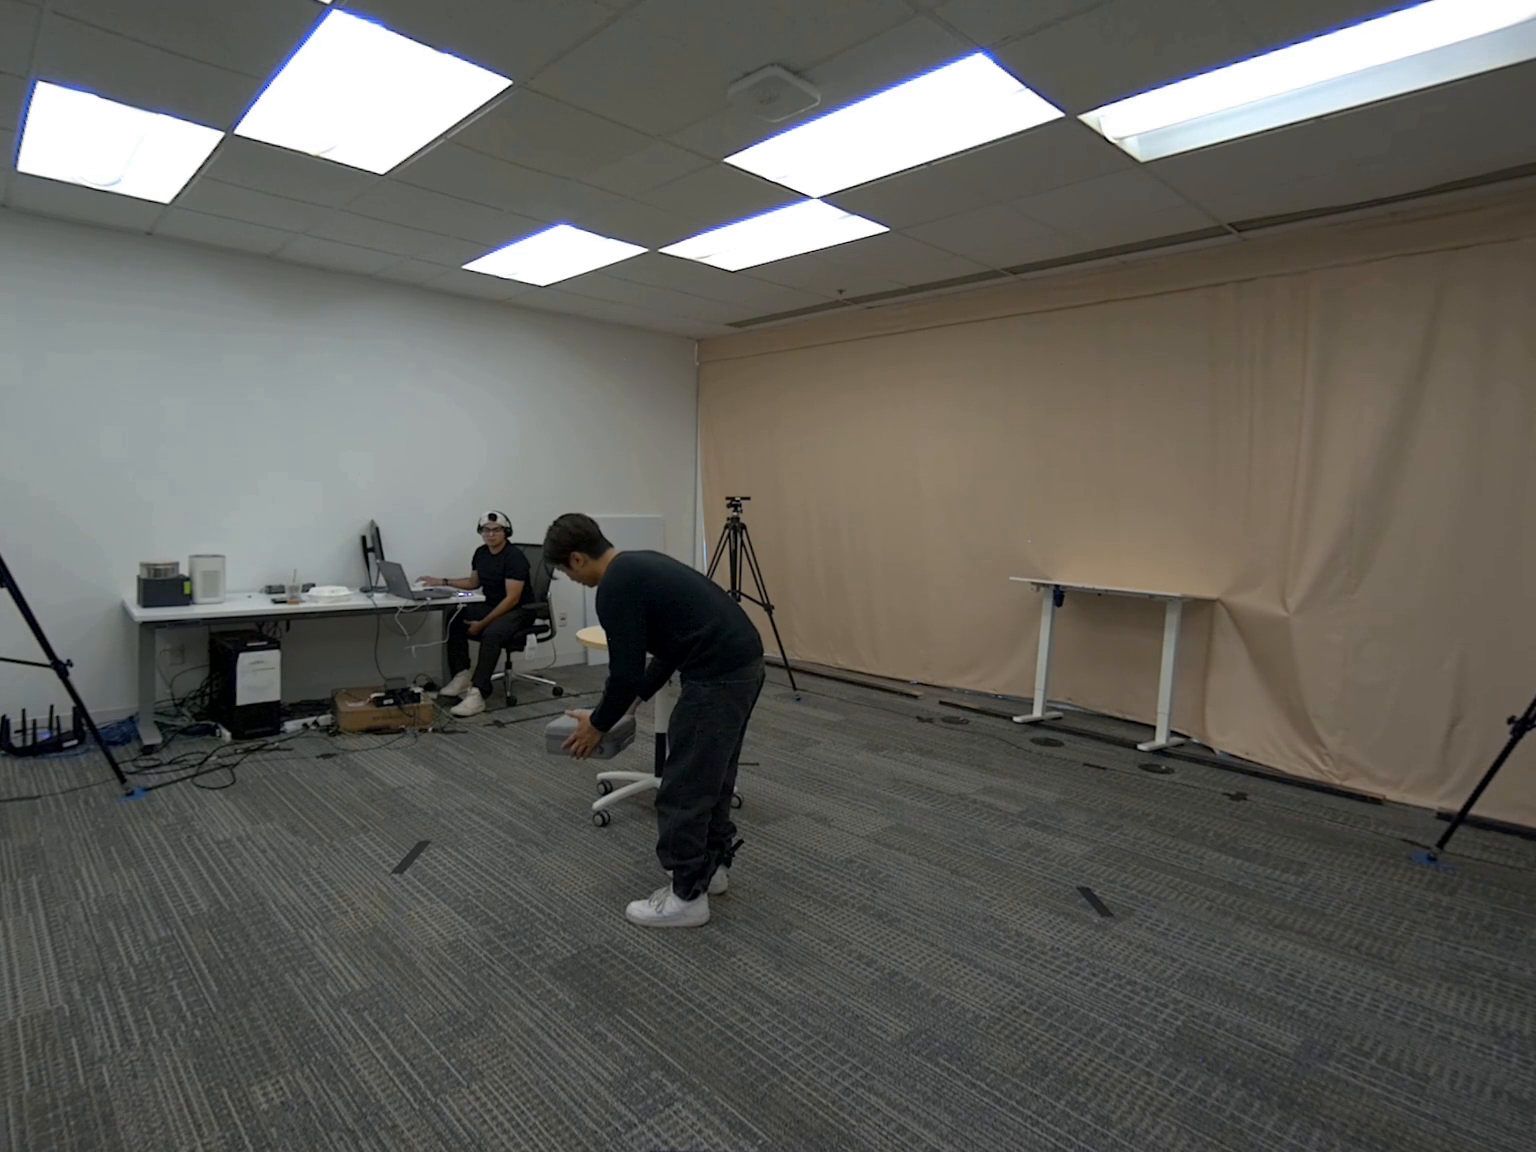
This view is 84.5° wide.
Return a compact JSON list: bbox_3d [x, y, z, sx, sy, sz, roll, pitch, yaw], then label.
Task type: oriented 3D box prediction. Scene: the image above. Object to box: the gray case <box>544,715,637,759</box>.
[{"bbox_3d":[-0.614,0.542,2.934,0.264,0.104,0.254,2,5,14],"label":"gray case"}]
